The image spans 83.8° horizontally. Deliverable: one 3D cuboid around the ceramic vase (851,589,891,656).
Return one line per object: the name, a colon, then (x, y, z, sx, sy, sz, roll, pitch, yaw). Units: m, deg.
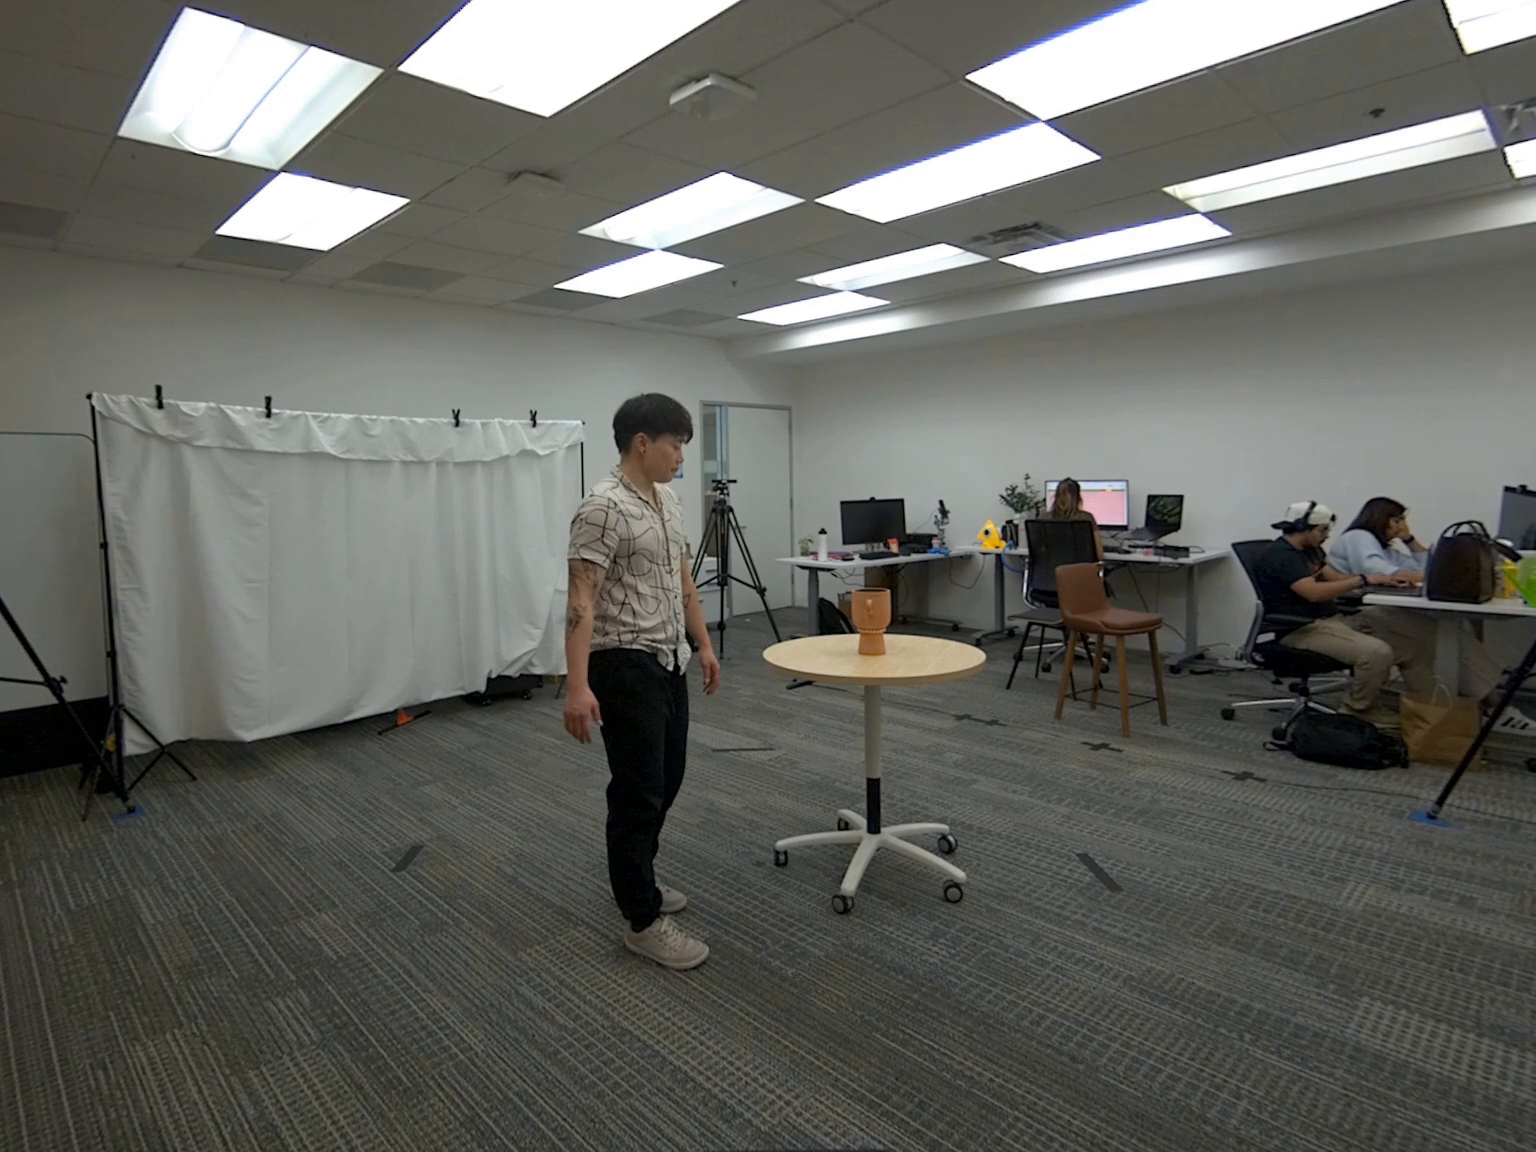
ceramic vase: (0.370, 0.161, 2.994, 0.155, 0.219, 0.138, -4, 4, -39)
